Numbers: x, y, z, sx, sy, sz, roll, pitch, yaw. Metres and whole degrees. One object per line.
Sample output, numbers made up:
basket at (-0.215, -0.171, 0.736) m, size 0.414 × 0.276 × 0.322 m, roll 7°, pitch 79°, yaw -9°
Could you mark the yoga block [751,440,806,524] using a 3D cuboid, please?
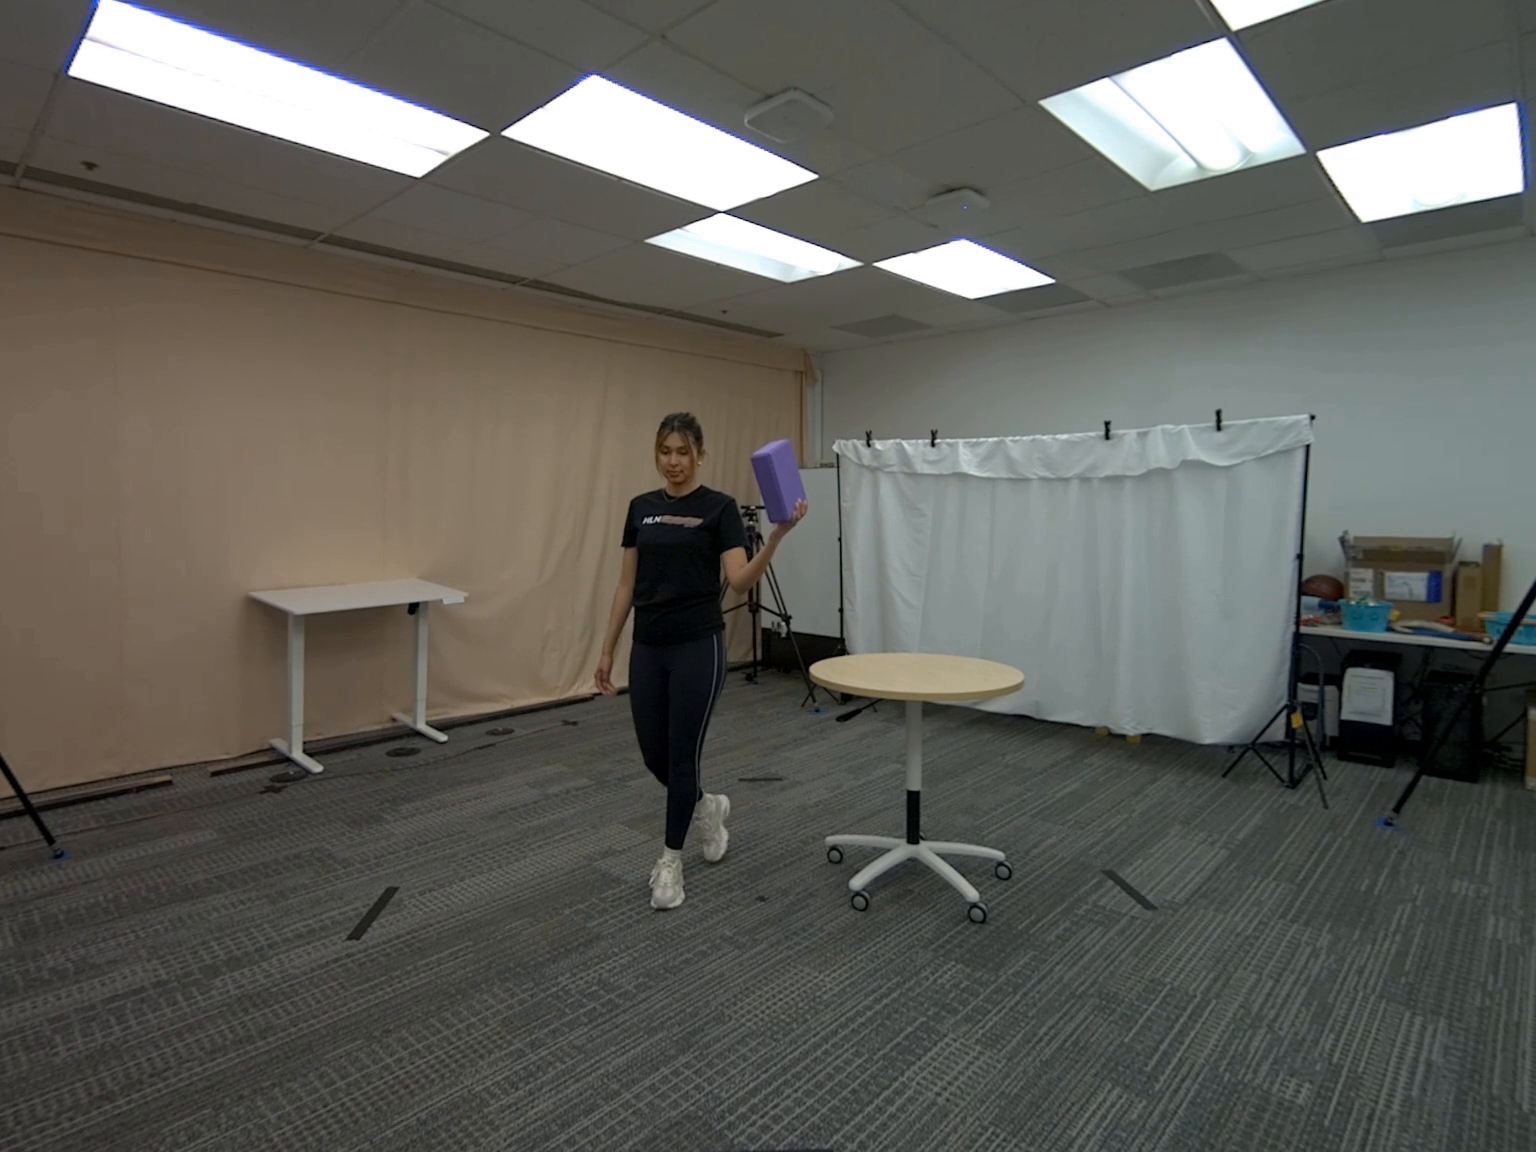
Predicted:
yoga block at (0.039, -0.299, 2.657) m, size 0.078 × 0.226 × 0.147 m, roll -5°, pitch 21°, yaw 33°
